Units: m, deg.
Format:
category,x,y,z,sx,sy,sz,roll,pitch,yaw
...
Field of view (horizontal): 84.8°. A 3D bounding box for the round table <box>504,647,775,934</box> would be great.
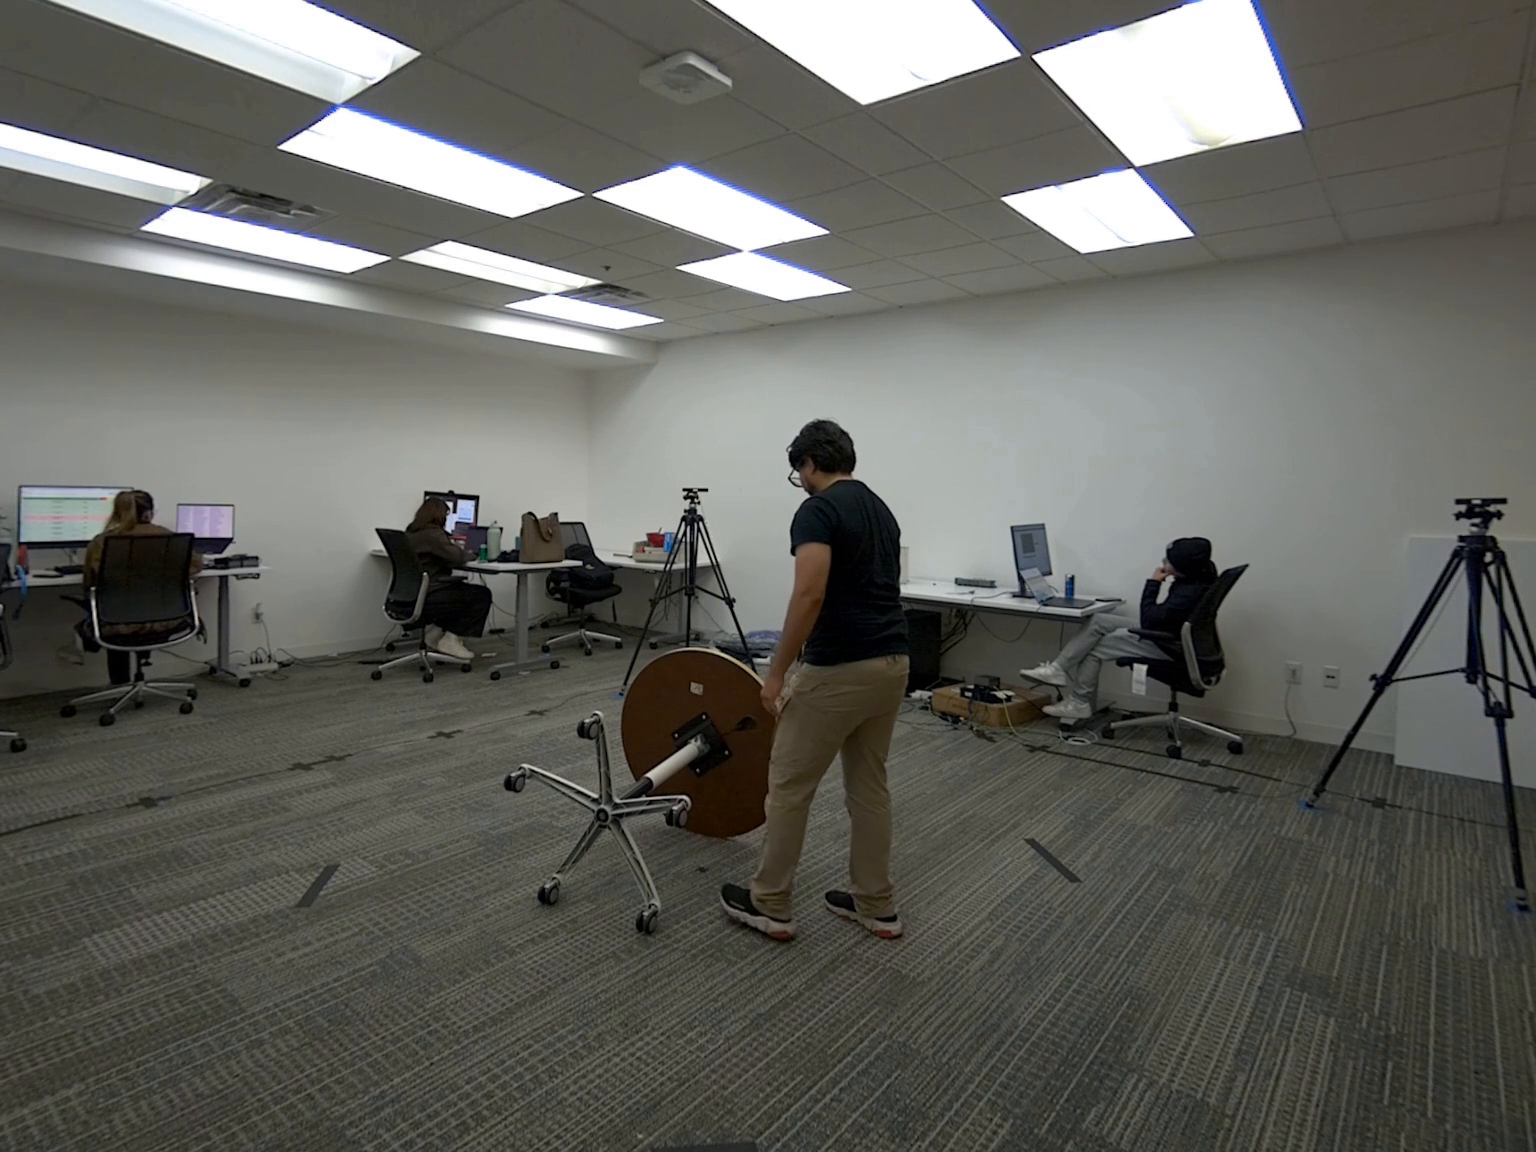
category,x,y,z,sx,sy,sz,roll,pitch,yaw
round table,-0.424,0.716,3.041,0.806,0.779,0.772,3,9,25
